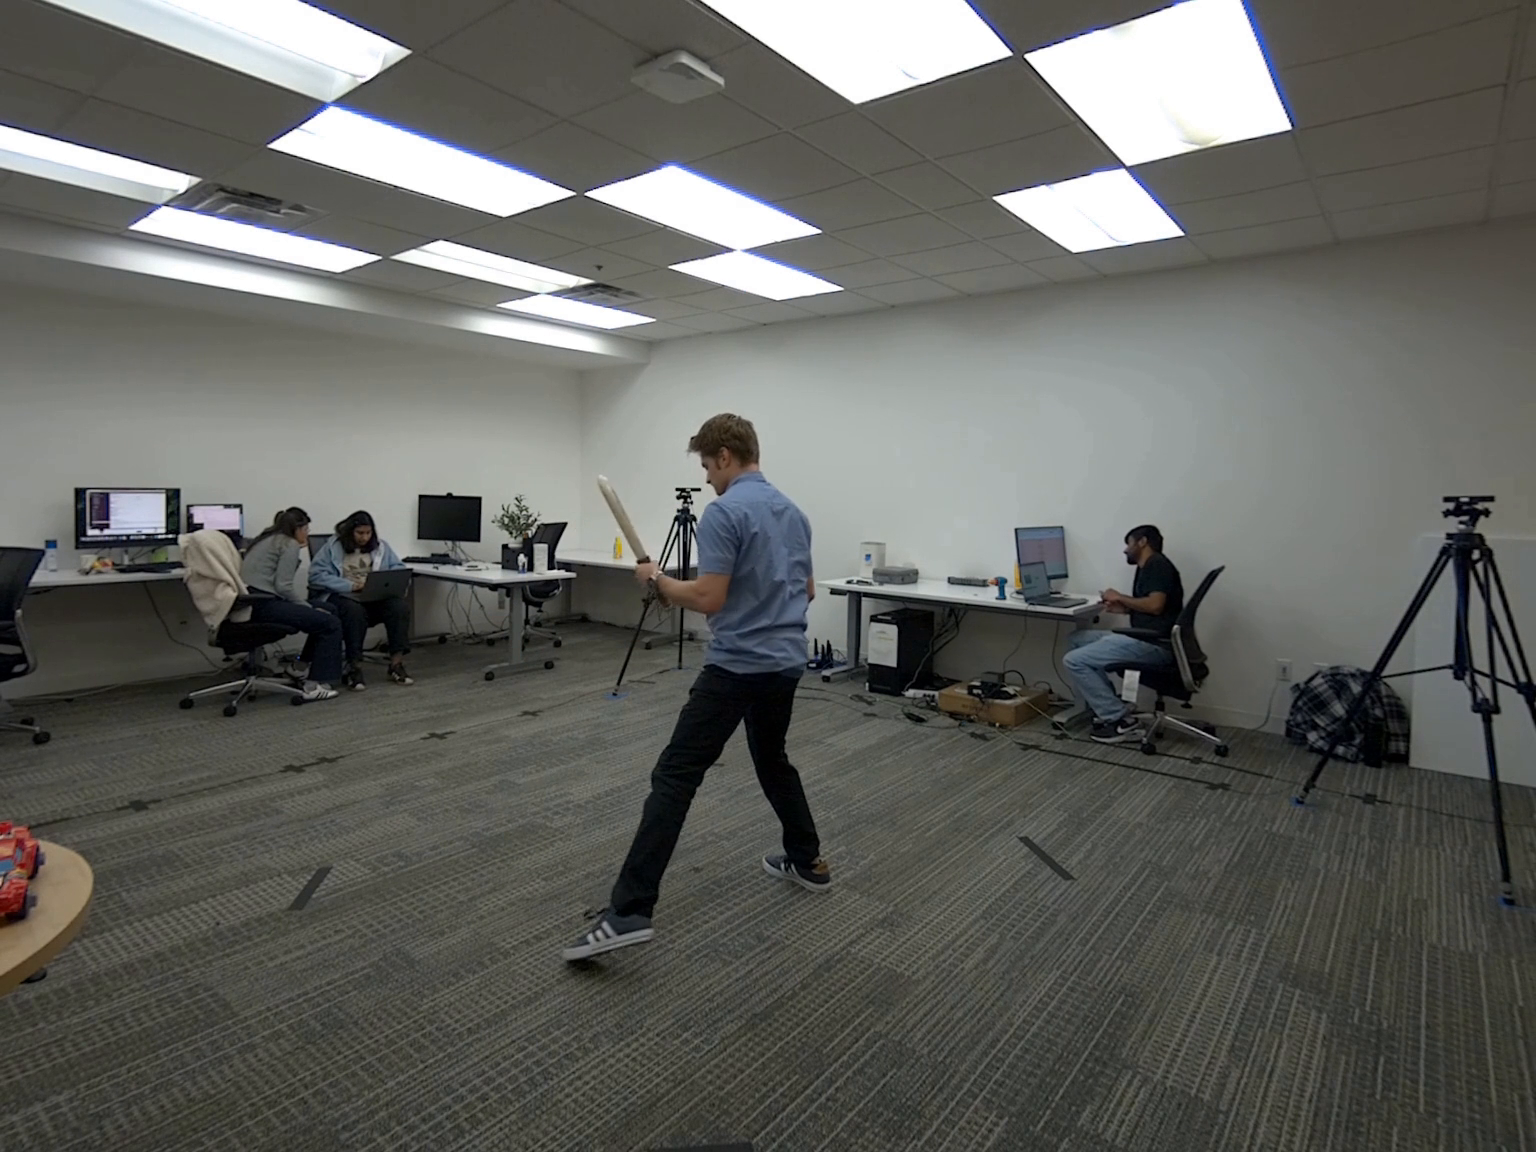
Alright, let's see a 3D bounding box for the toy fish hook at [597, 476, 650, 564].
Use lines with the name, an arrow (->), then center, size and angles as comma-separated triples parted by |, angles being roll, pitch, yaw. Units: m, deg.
toy fish hook -> -0.473, -0.107, 2.877 | 0.048, 0.504, 0.226 | -27, 4, -4
